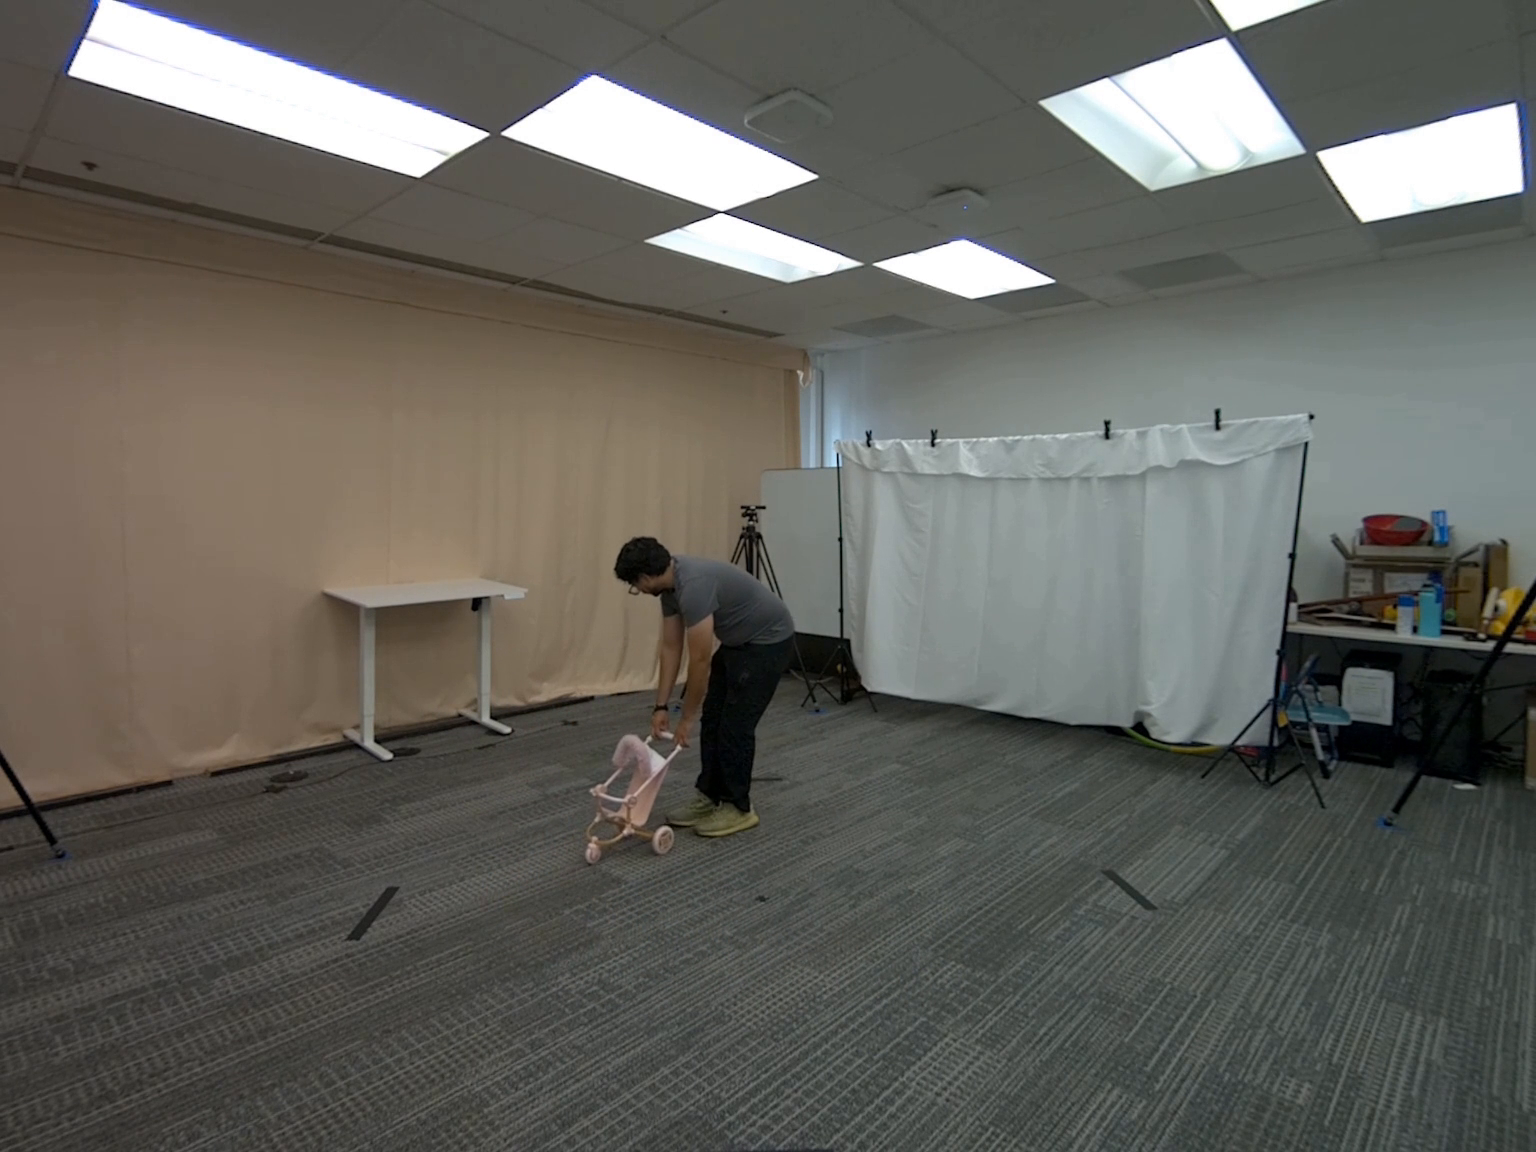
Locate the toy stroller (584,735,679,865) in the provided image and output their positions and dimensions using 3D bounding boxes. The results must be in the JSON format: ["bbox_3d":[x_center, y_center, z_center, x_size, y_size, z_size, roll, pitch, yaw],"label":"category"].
[{"bbox_3d":[-0.556,0.887,3.414,0.329,0.537,0.291,19,-11,-42],"label":"toy stroller"}]
